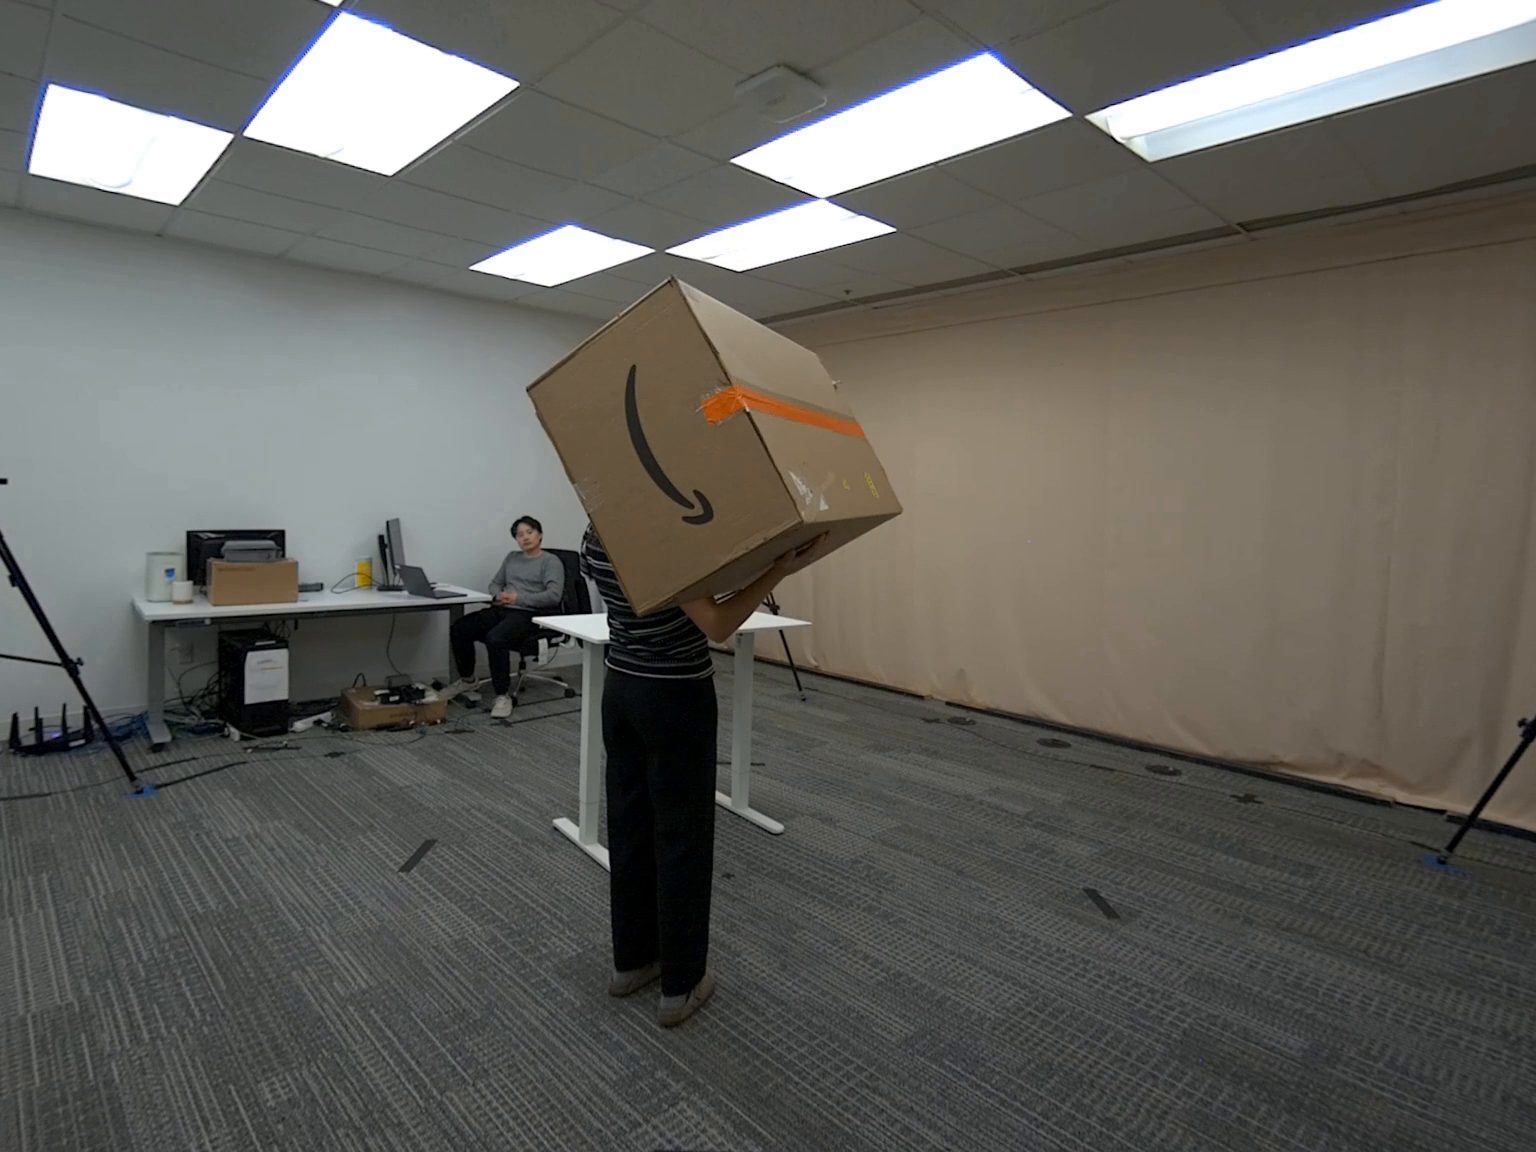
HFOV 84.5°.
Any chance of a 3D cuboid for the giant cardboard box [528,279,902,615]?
[{"bbox_3d":[-0.064,-0.304,2.209,0.429,0.582,1.012,-30,-6,20],"label":"giant cardboard box"}]
